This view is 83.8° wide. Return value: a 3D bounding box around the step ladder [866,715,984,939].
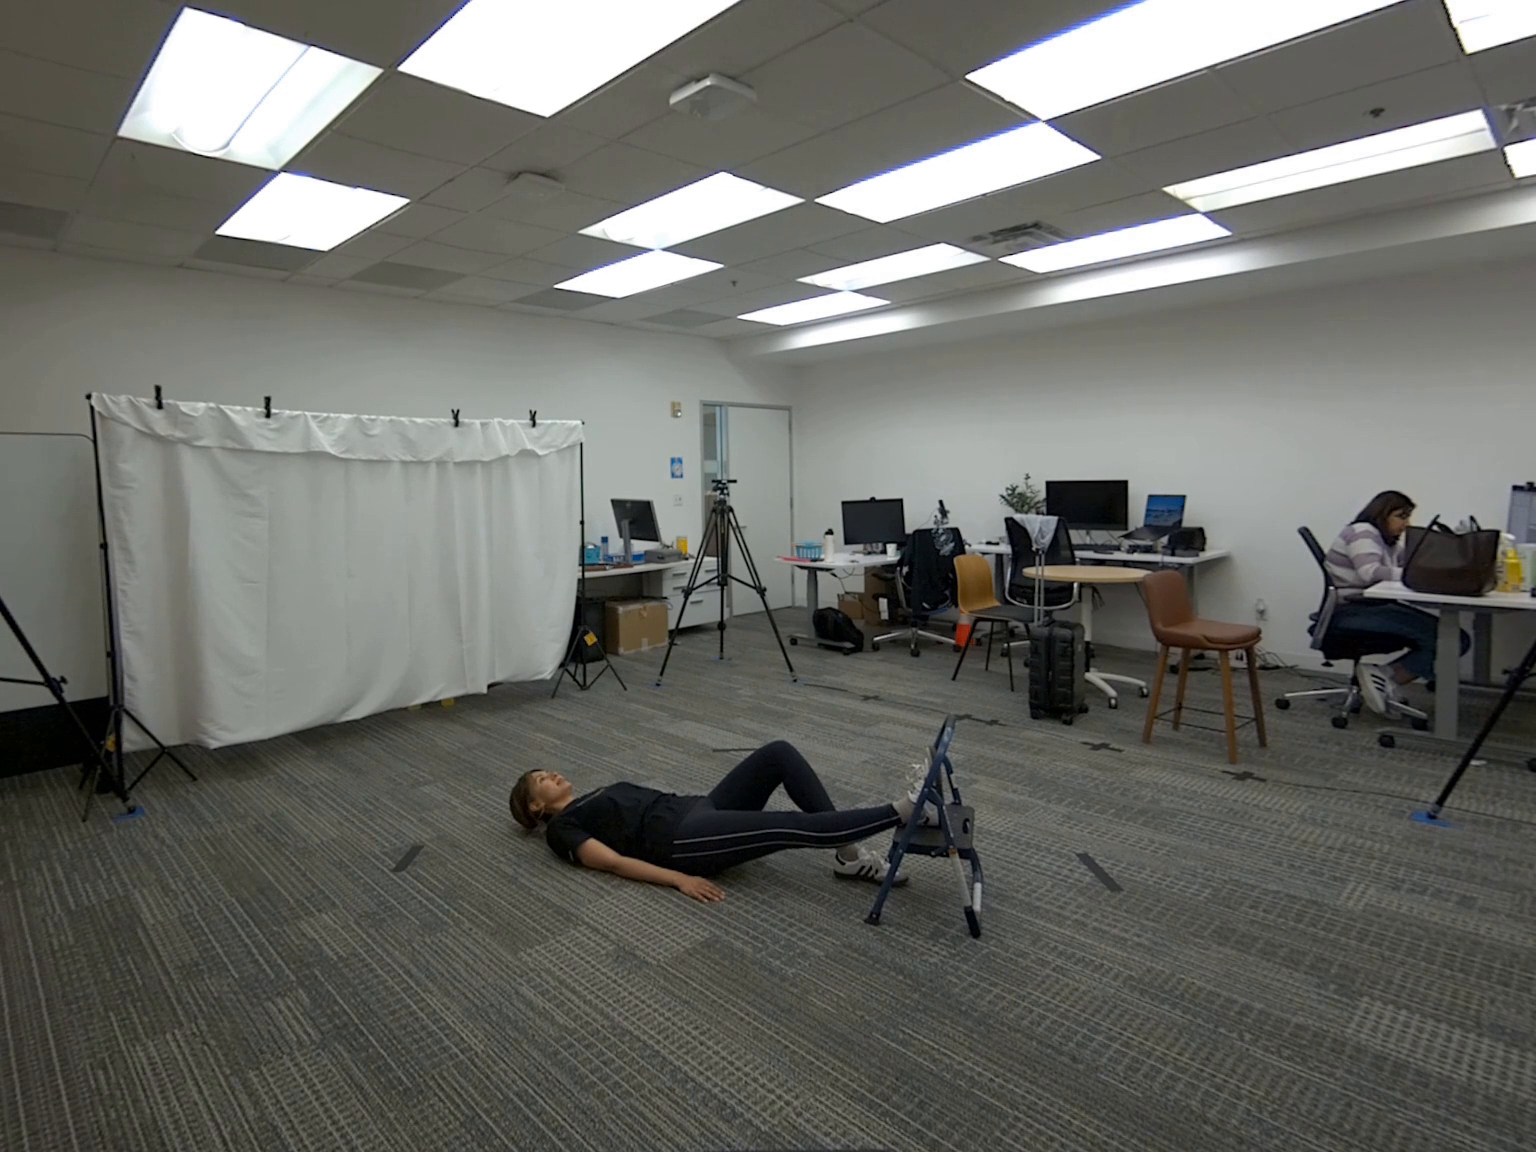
[{"bbox_3d":[0.527,0.772,2.799,0.355,0.604,0.425,0,4,16],"label":"step ladder"}]
